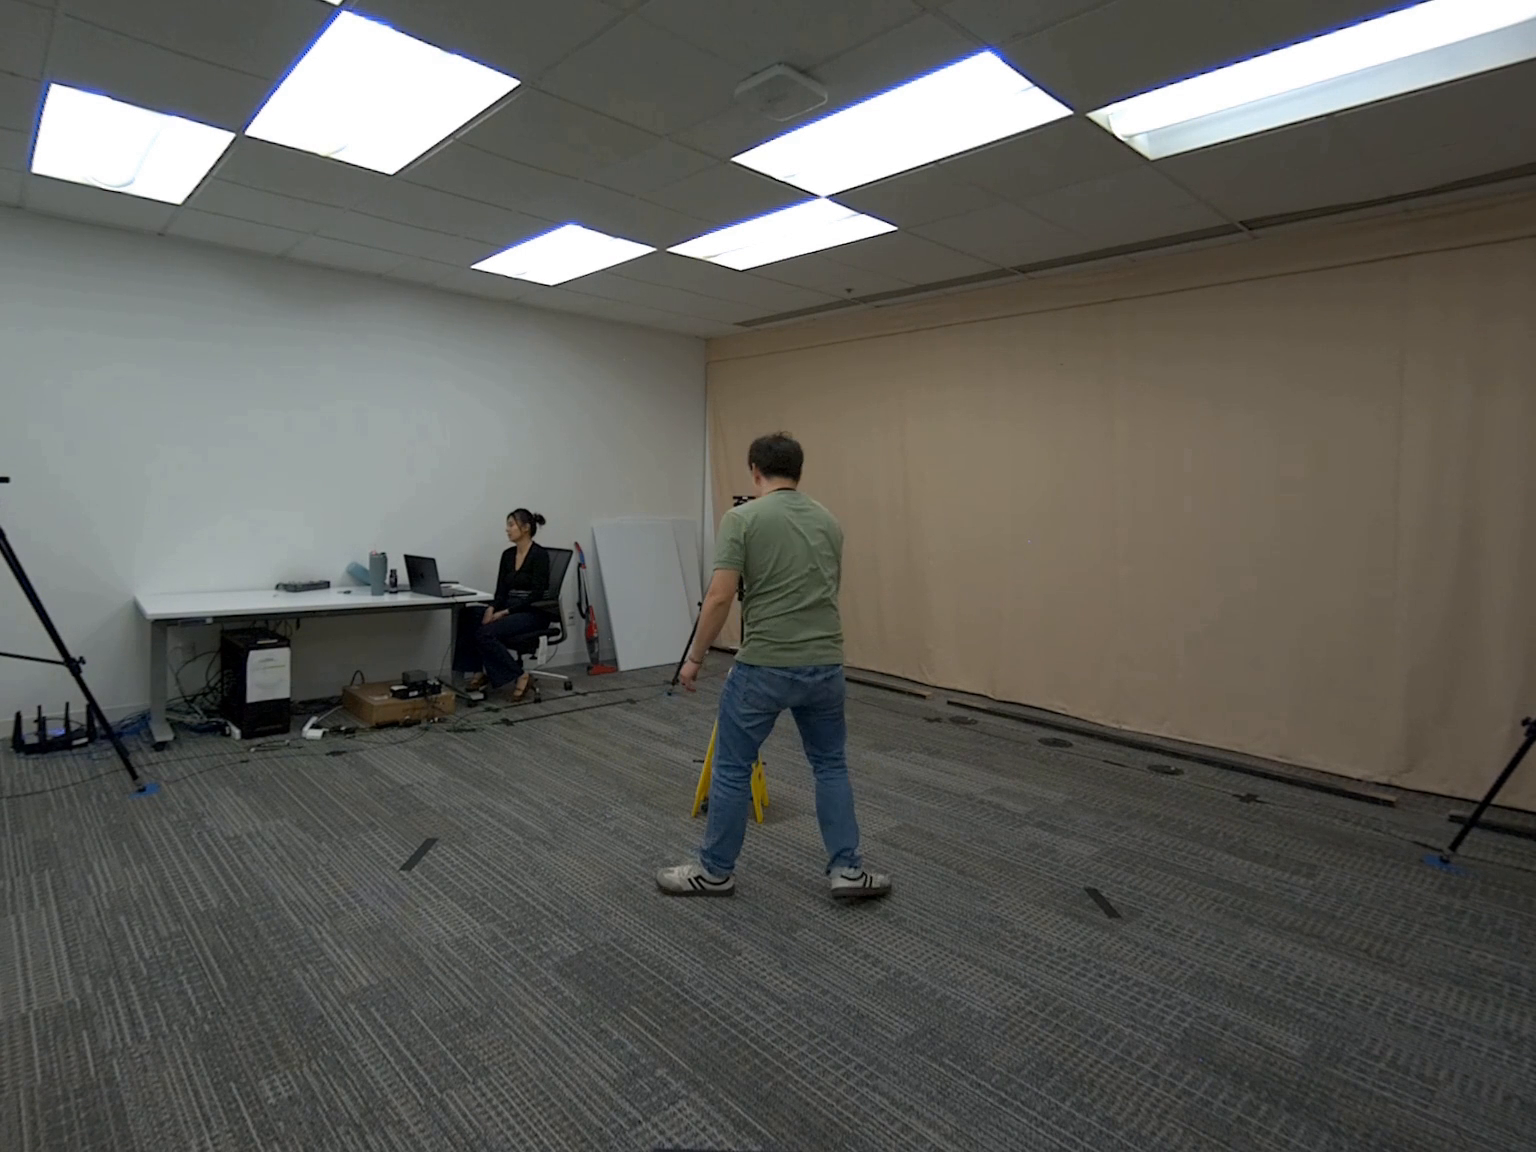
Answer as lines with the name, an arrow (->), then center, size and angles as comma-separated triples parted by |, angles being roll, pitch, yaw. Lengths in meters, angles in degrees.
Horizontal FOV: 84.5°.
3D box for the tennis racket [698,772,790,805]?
tennis racket -> -0.113, 1.023, 4.049 | 0.219, 0.032, 0.423 | 7, 5, 37
